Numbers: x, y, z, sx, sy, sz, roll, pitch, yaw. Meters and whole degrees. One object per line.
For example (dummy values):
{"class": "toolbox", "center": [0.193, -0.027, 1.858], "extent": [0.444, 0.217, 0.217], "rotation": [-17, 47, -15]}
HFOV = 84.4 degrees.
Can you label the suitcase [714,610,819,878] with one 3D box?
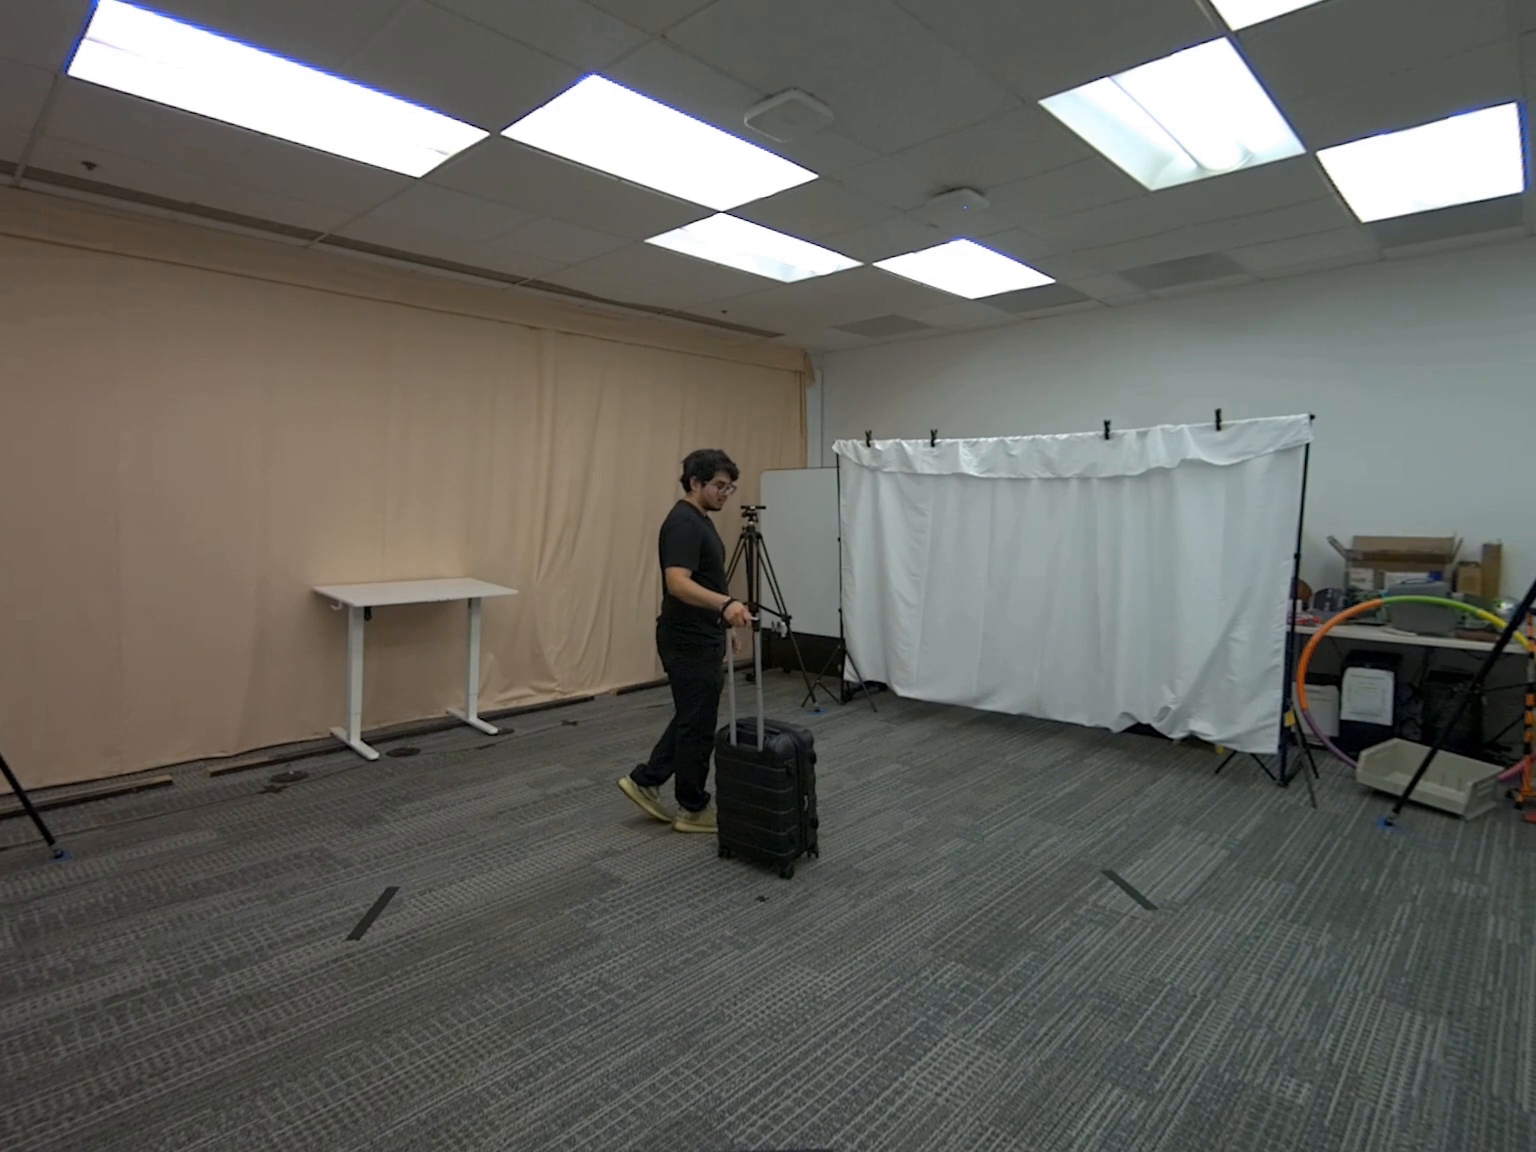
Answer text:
{"class": "suitcase", "center": [-0.007, 0.636, 3.264], "extent": [0.396, 0.975, 0.250], "rotation": [3, 6, 37]}
